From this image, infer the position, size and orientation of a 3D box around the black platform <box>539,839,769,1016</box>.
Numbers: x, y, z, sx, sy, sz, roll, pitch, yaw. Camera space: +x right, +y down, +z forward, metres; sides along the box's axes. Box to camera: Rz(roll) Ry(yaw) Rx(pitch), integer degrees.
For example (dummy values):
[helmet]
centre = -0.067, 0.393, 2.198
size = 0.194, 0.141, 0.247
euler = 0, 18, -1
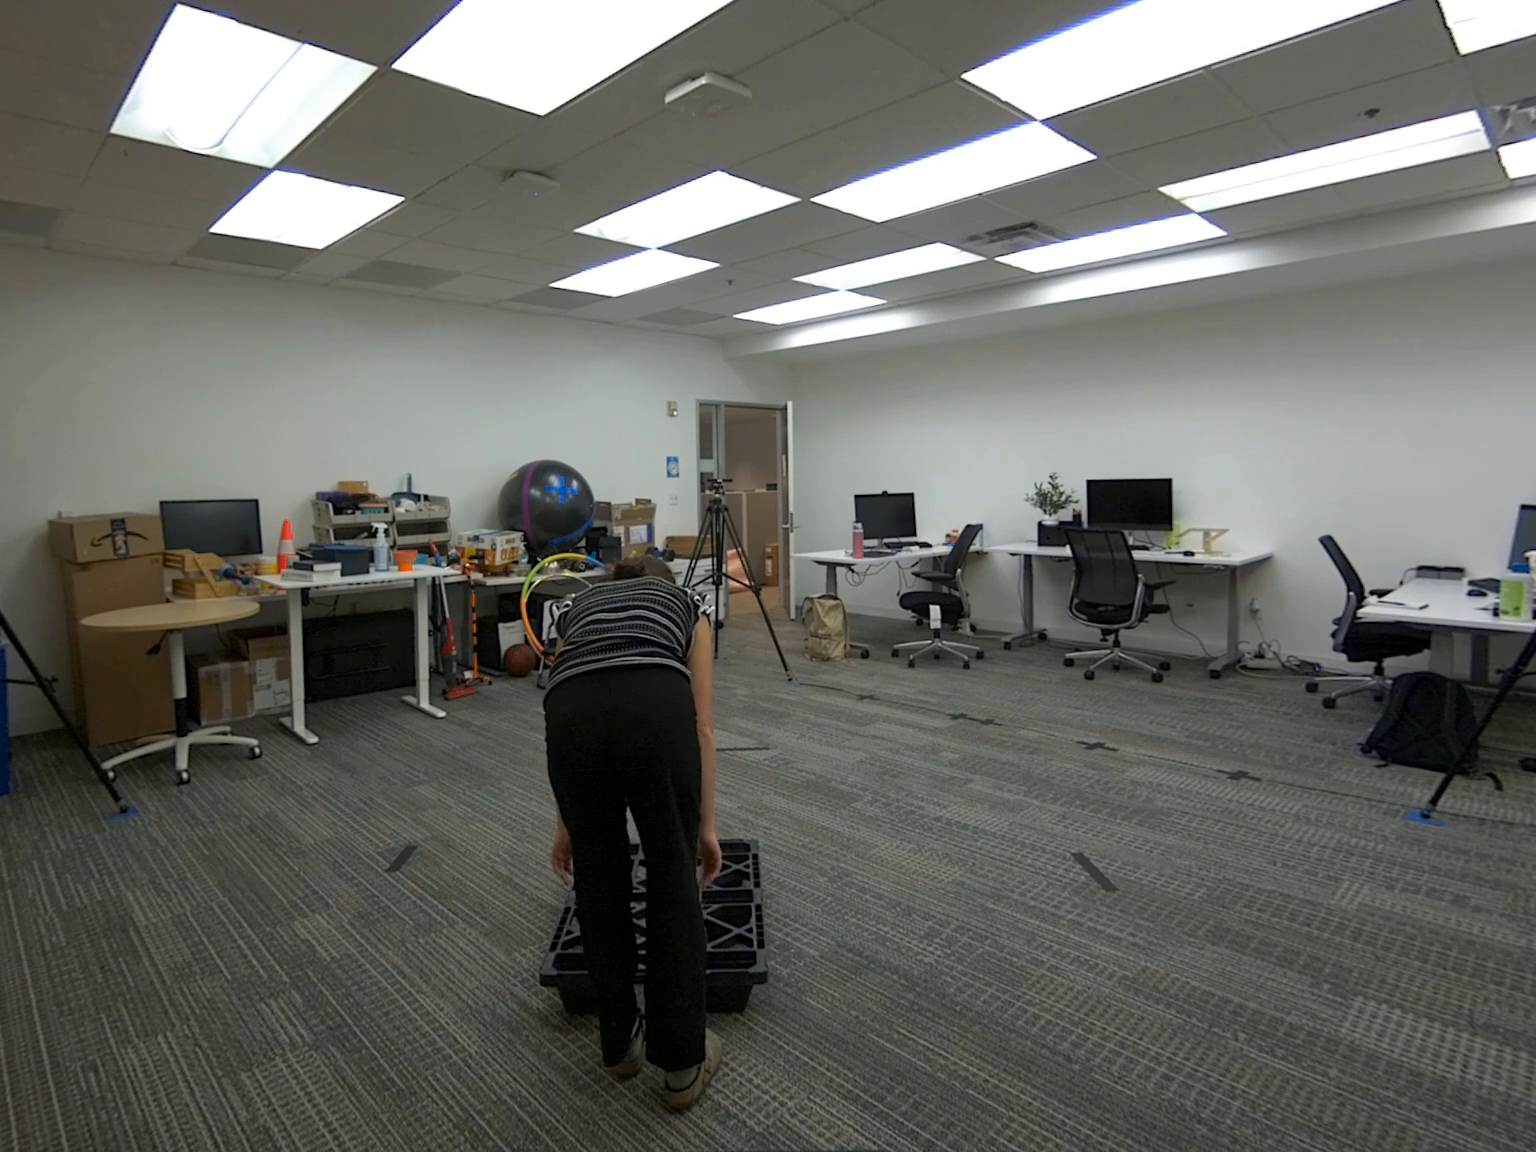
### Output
[black platform]
centre = -0.310, 1.040, 2.600
size = 0.605, 0.142, 0.810
euler = -2, 7, -1
